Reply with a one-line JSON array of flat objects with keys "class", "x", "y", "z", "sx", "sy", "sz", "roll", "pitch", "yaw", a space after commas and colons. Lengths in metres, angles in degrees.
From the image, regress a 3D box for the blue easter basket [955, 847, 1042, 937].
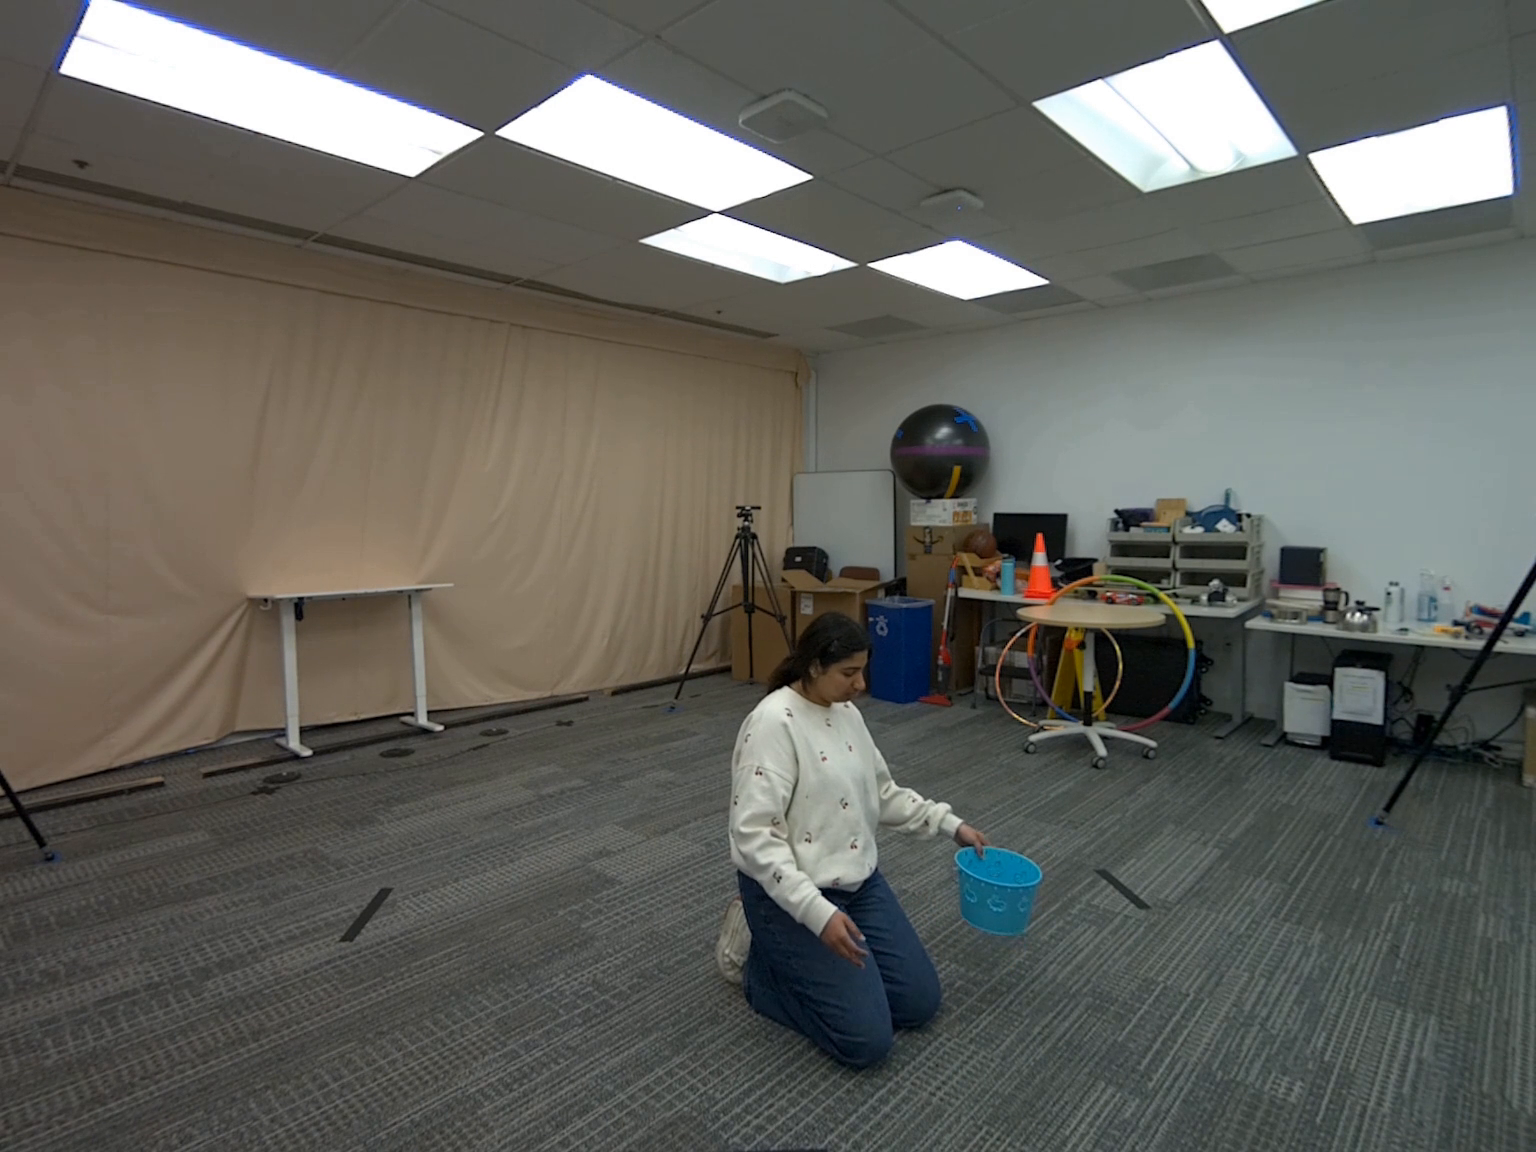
[{"class": "blue easter basket", "x": 0.642, "y": 0.881, "z": 2.321, "sx": 0.243, "sy": 0.155, "sz": 0.245, "roll": 3, "pitch": 6, "yaw": -2}]
